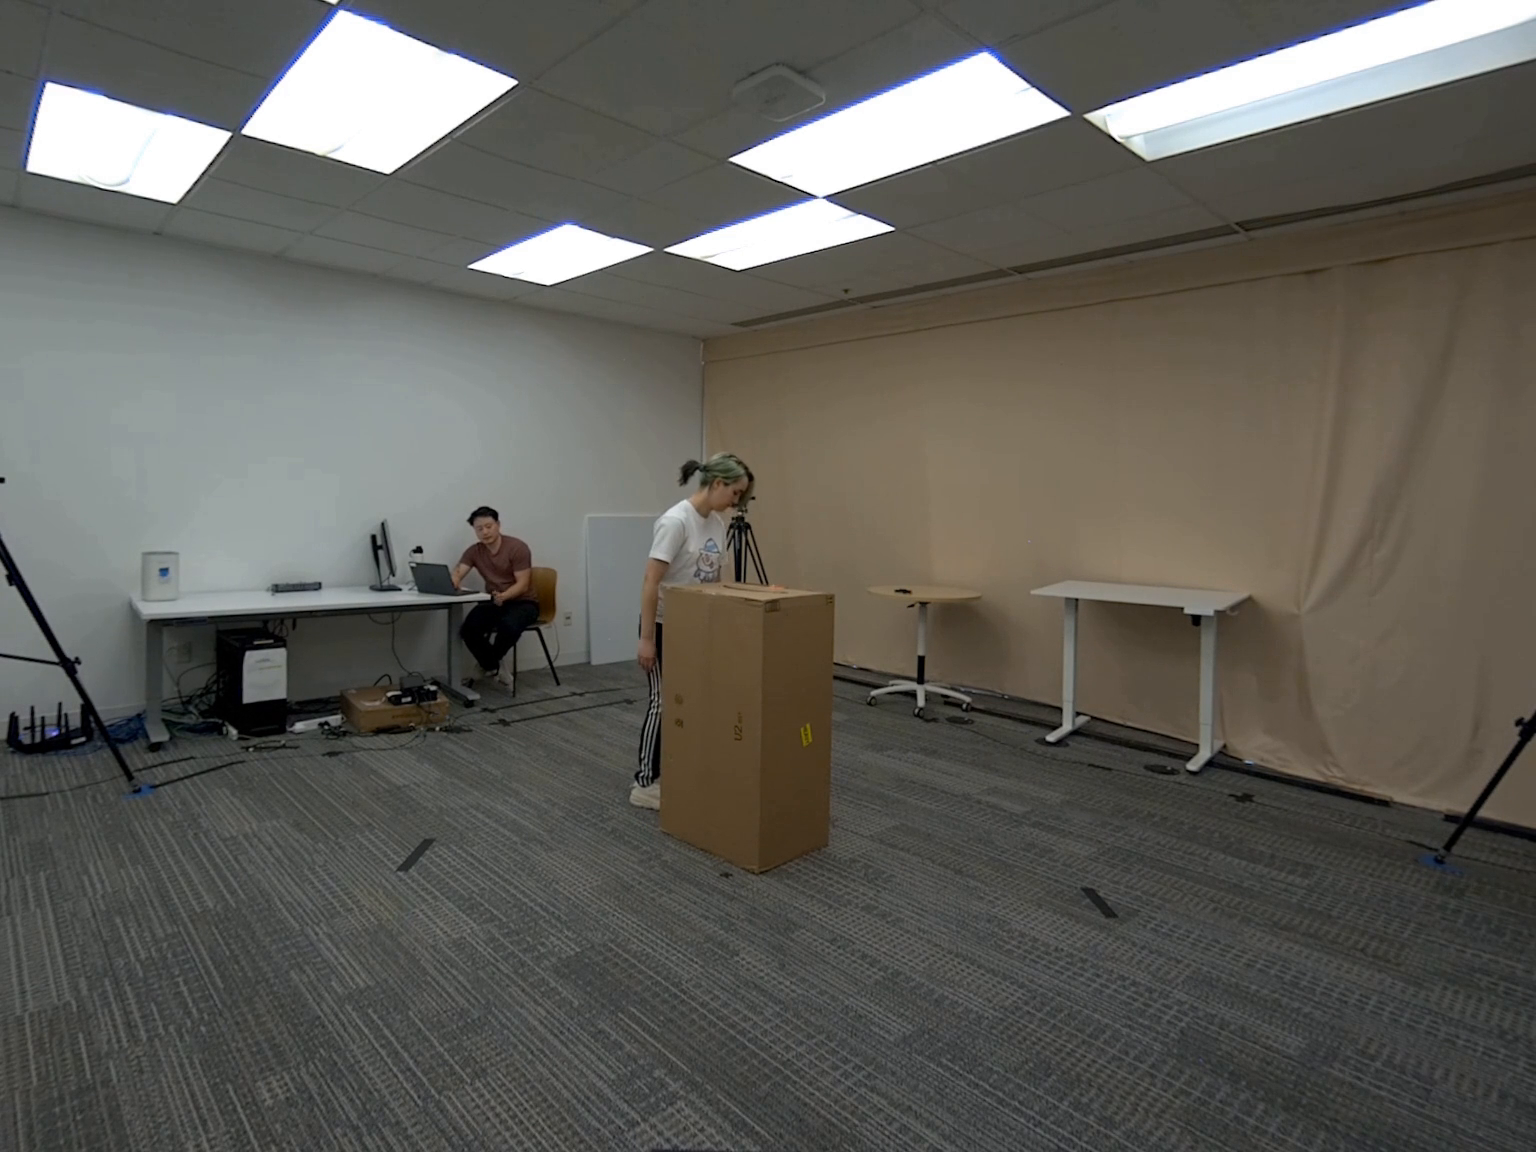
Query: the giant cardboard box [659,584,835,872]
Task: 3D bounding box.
[{"bbox_3d":[-0.094,0.568,3.437,0.599,1.024,0.437,4,5,43],"label":"giant cardboard box"}]
